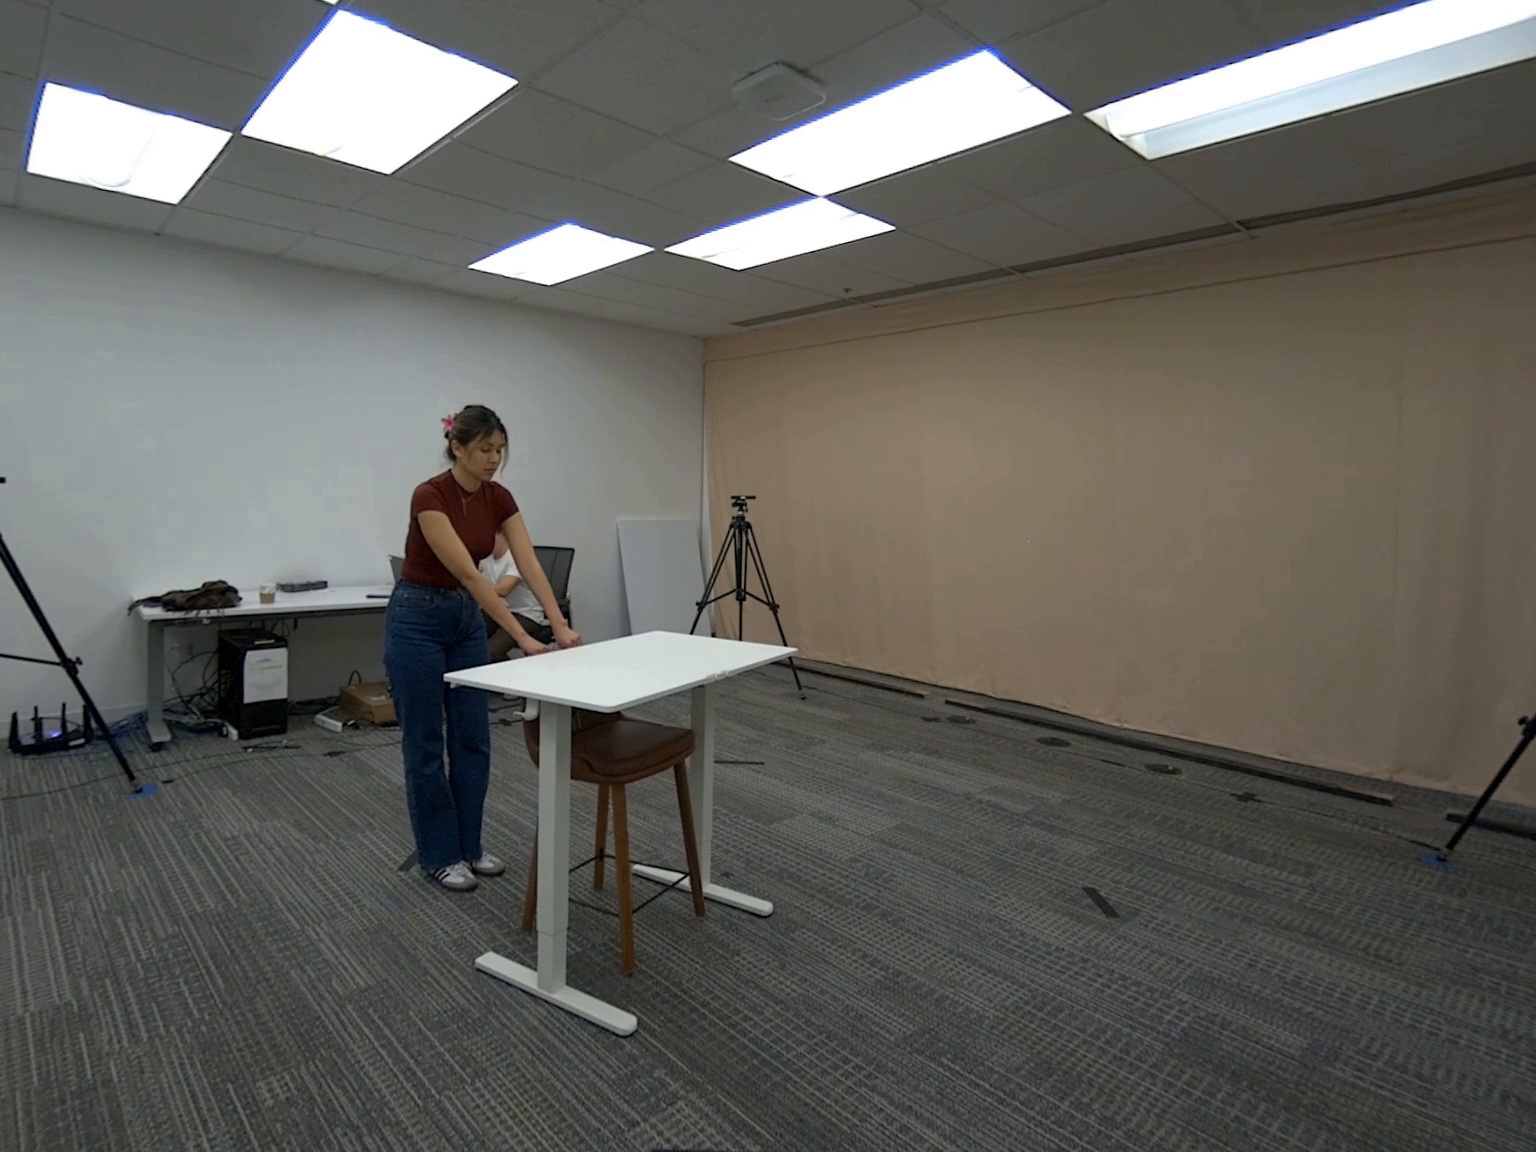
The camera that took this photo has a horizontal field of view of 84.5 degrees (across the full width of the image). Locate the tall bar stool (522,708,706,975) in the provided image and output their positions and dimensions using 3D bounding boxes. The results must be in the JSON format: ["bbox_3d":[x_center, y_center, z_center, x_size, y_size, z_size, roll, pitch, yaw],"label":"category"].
[{"bbox_3d":[-0.518,0.697,2.695,0.477,0.889,0.448,-1,2,30],"label":"tall bar stool"}]
